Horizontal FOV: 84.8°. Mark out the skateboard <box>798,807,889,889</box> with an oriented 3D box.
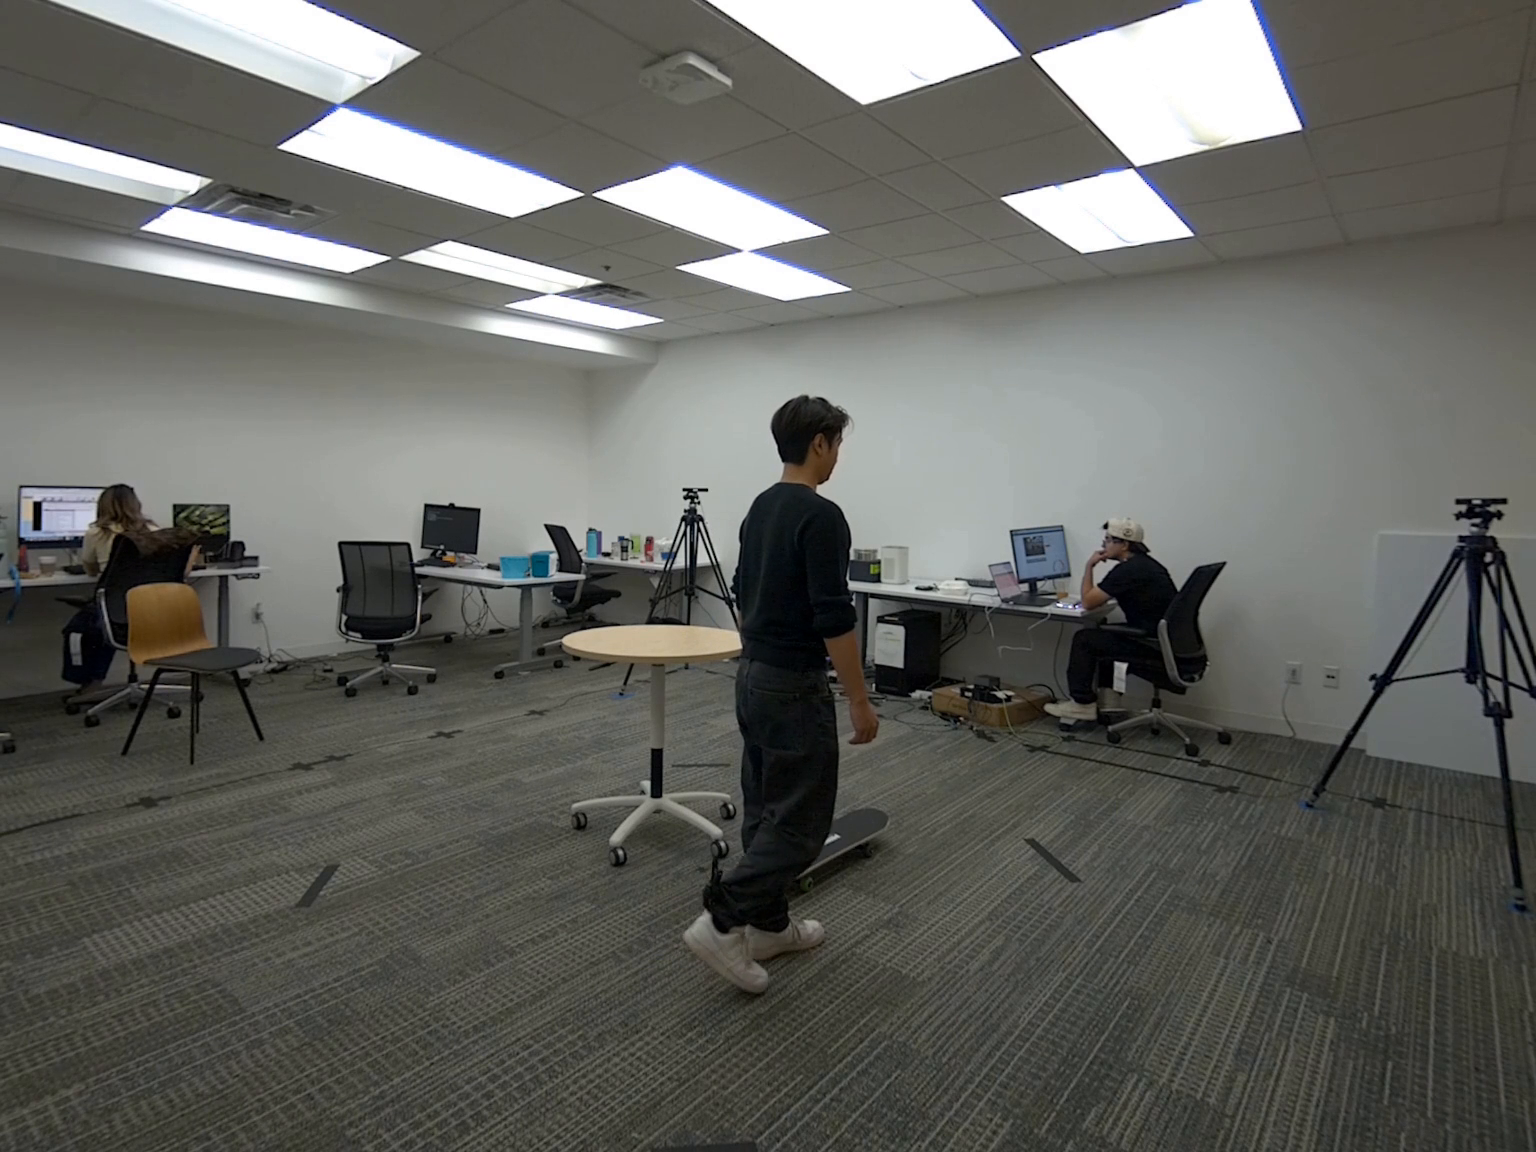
[{"bbox_3d":[0.198,1.022,3.154,0.200,0.110,0.762,6,8,40],"label":"skateboard"}]
